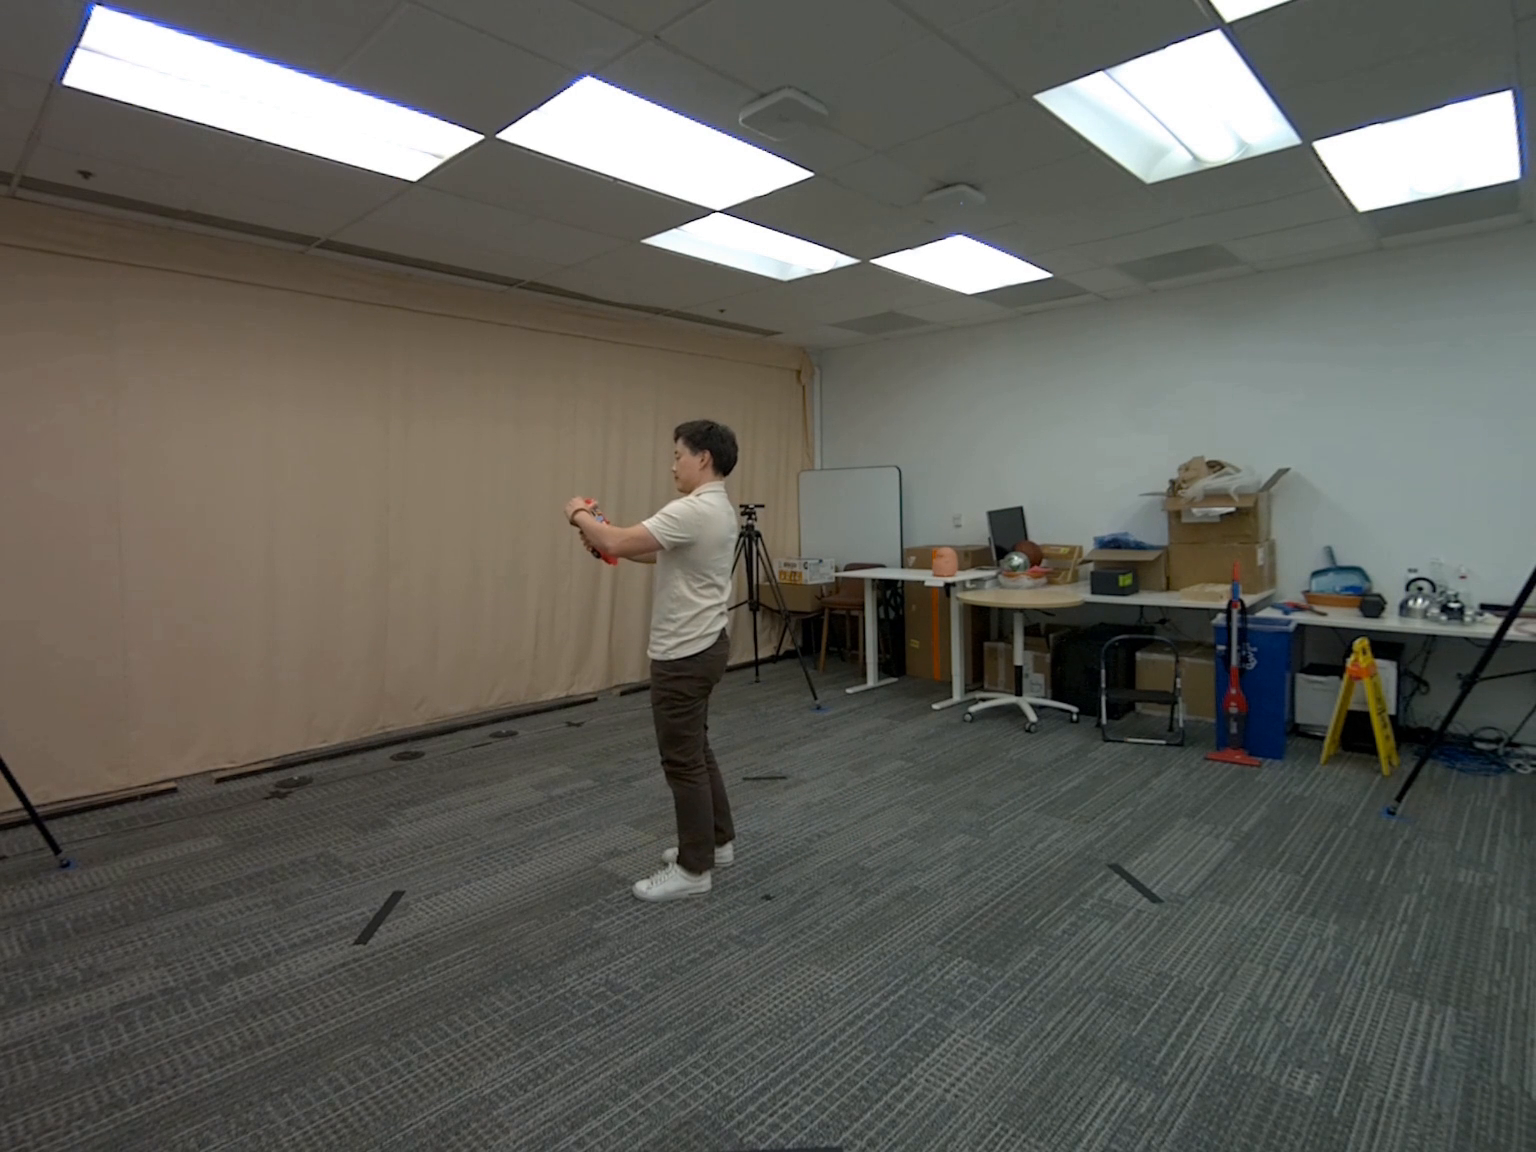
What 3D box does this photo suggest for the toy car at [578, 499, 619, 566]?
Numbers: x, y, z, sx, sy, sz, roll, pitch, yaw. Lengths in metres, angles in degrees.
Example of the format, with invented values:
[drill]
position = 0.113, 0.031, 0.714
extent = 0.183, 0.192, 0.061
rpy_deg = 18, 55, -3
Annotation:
[toy car]
position = -0.614, -0.156, 3.061
extent = 0.129, 0.253, 0.085
rpy_deg = -39, 8, -35
